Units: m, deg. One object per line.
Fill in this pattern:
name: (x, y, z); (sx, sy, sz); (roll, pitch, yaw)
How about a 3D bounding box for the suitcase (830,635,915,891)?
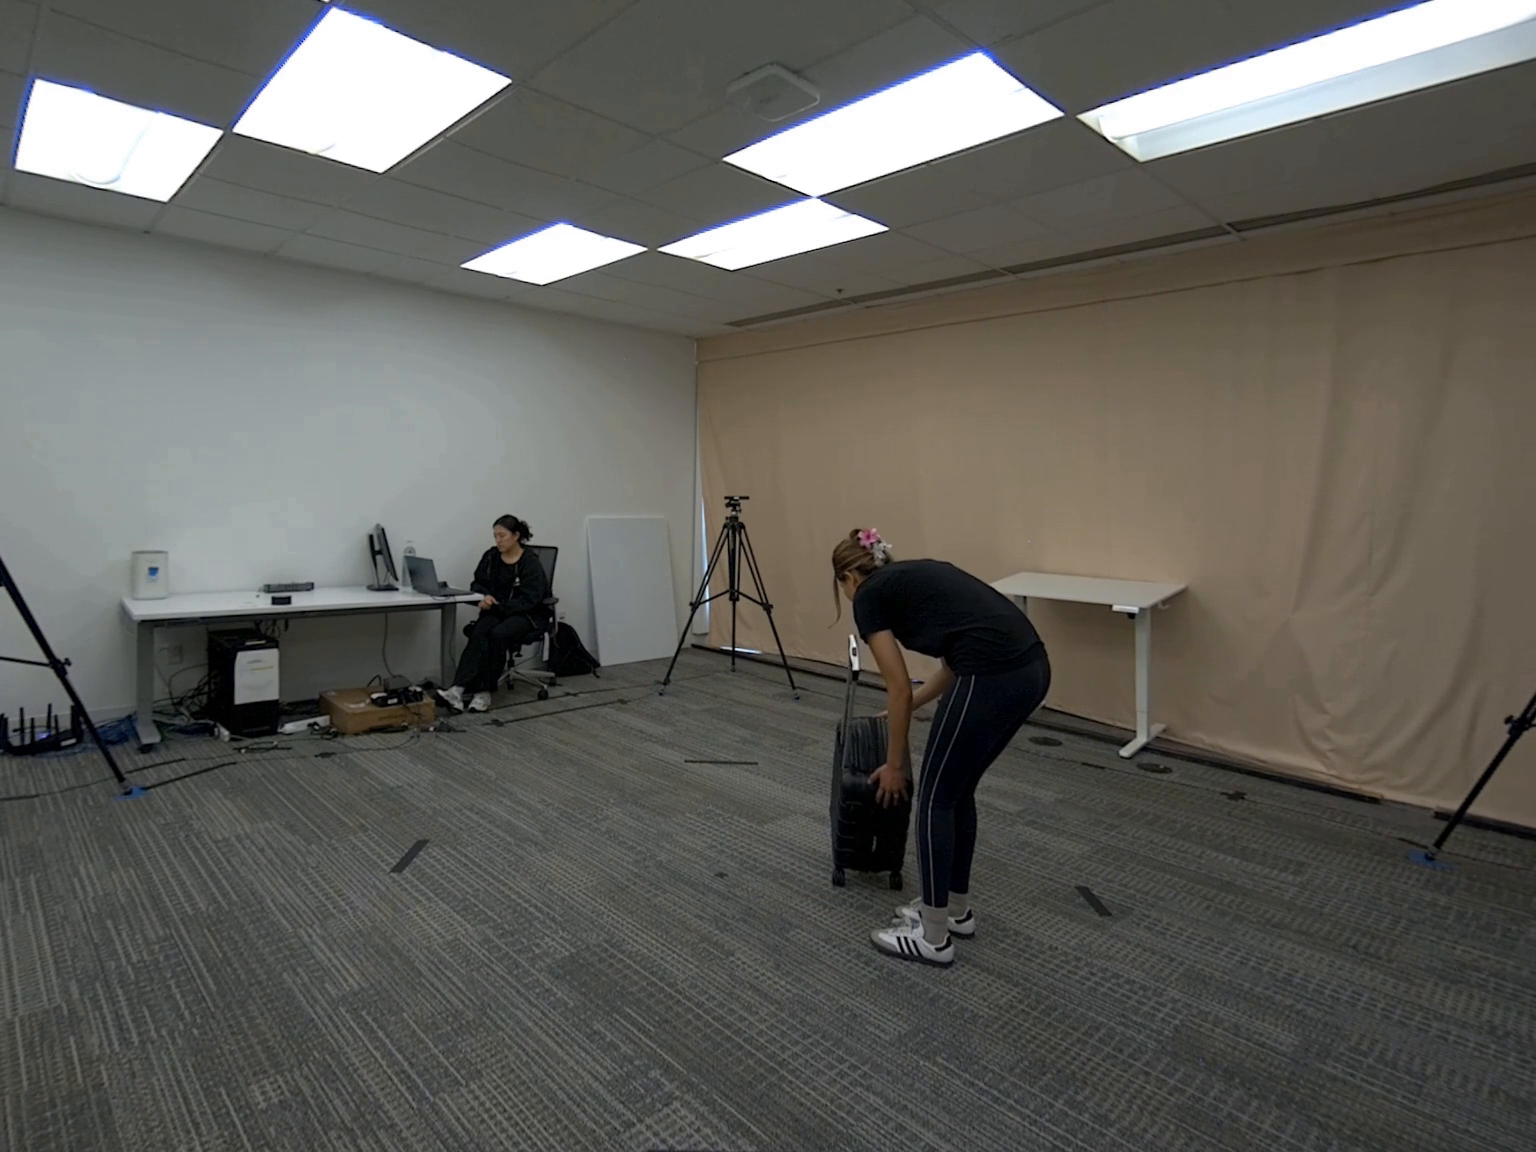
suitcase: (0.364, 0.634, 2.909); (0.258, 0.958, 0.390); (4, 35, 3)
